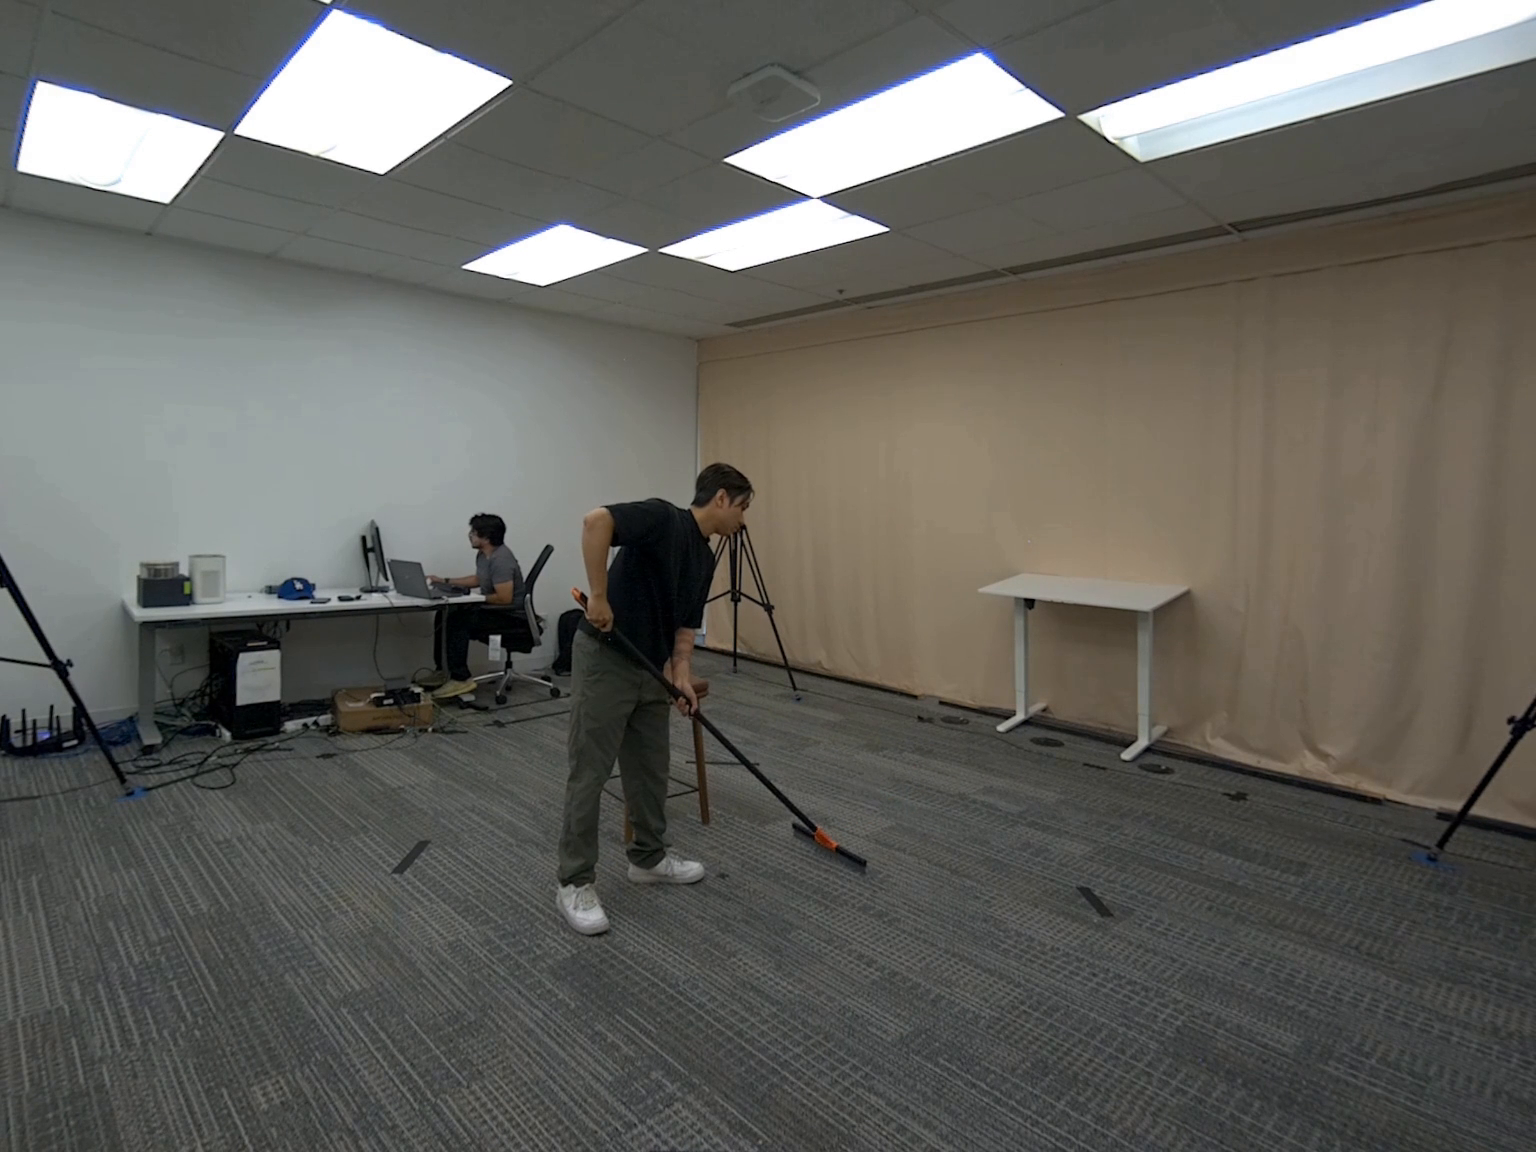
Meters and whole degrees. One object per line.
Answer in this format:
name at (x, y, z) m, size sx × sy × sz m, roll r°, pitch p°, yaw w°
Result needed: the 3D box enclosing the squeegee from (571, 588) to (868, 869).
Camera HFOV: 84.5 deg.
squeegee at (-0.179, 0.547, 2.982) m, size 1.498 × 0.053 × 0.448 m, roll 49°, pitch -22°, yaw -28°
